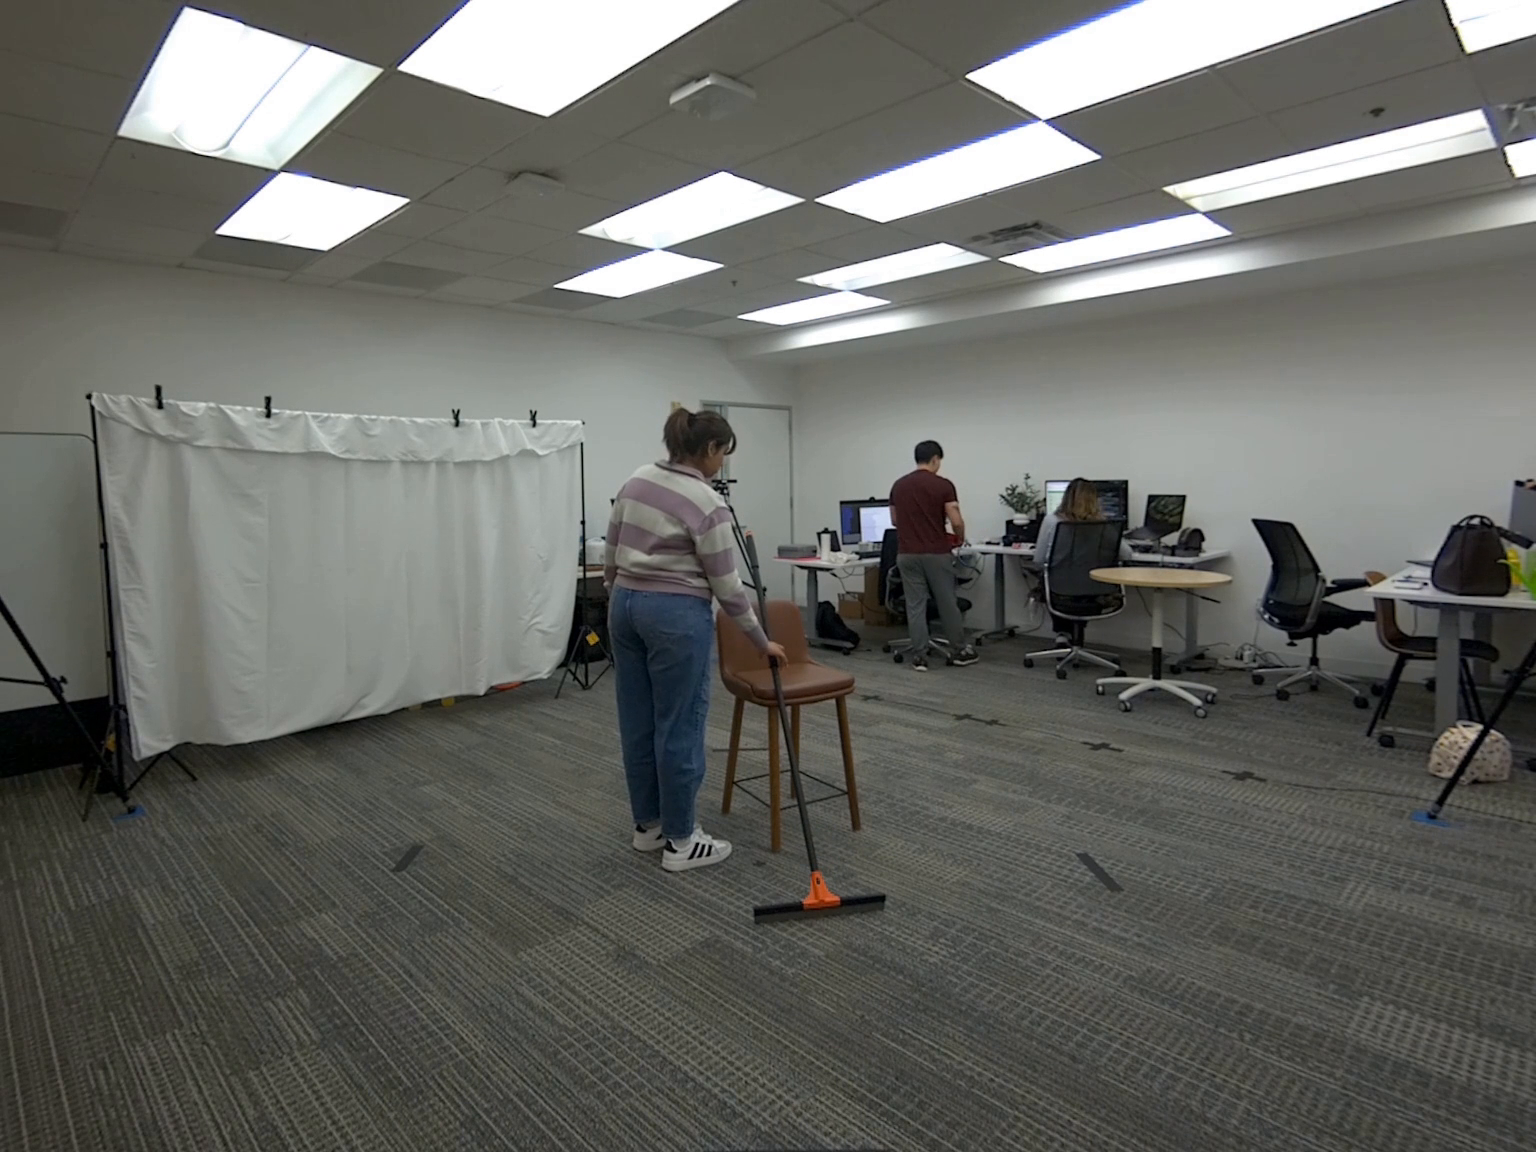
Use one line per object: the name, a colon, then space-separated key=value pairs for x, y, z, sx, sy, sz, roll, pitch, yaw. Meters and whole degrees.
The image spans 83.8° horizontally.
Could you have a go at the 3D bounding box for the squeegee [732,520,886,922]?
squeegee: x=0.054 y=0.440 z=3.161 sx=0.433 sy=1.585 sz=0.052 roll=-2 pitch=-38 yaw=-11
